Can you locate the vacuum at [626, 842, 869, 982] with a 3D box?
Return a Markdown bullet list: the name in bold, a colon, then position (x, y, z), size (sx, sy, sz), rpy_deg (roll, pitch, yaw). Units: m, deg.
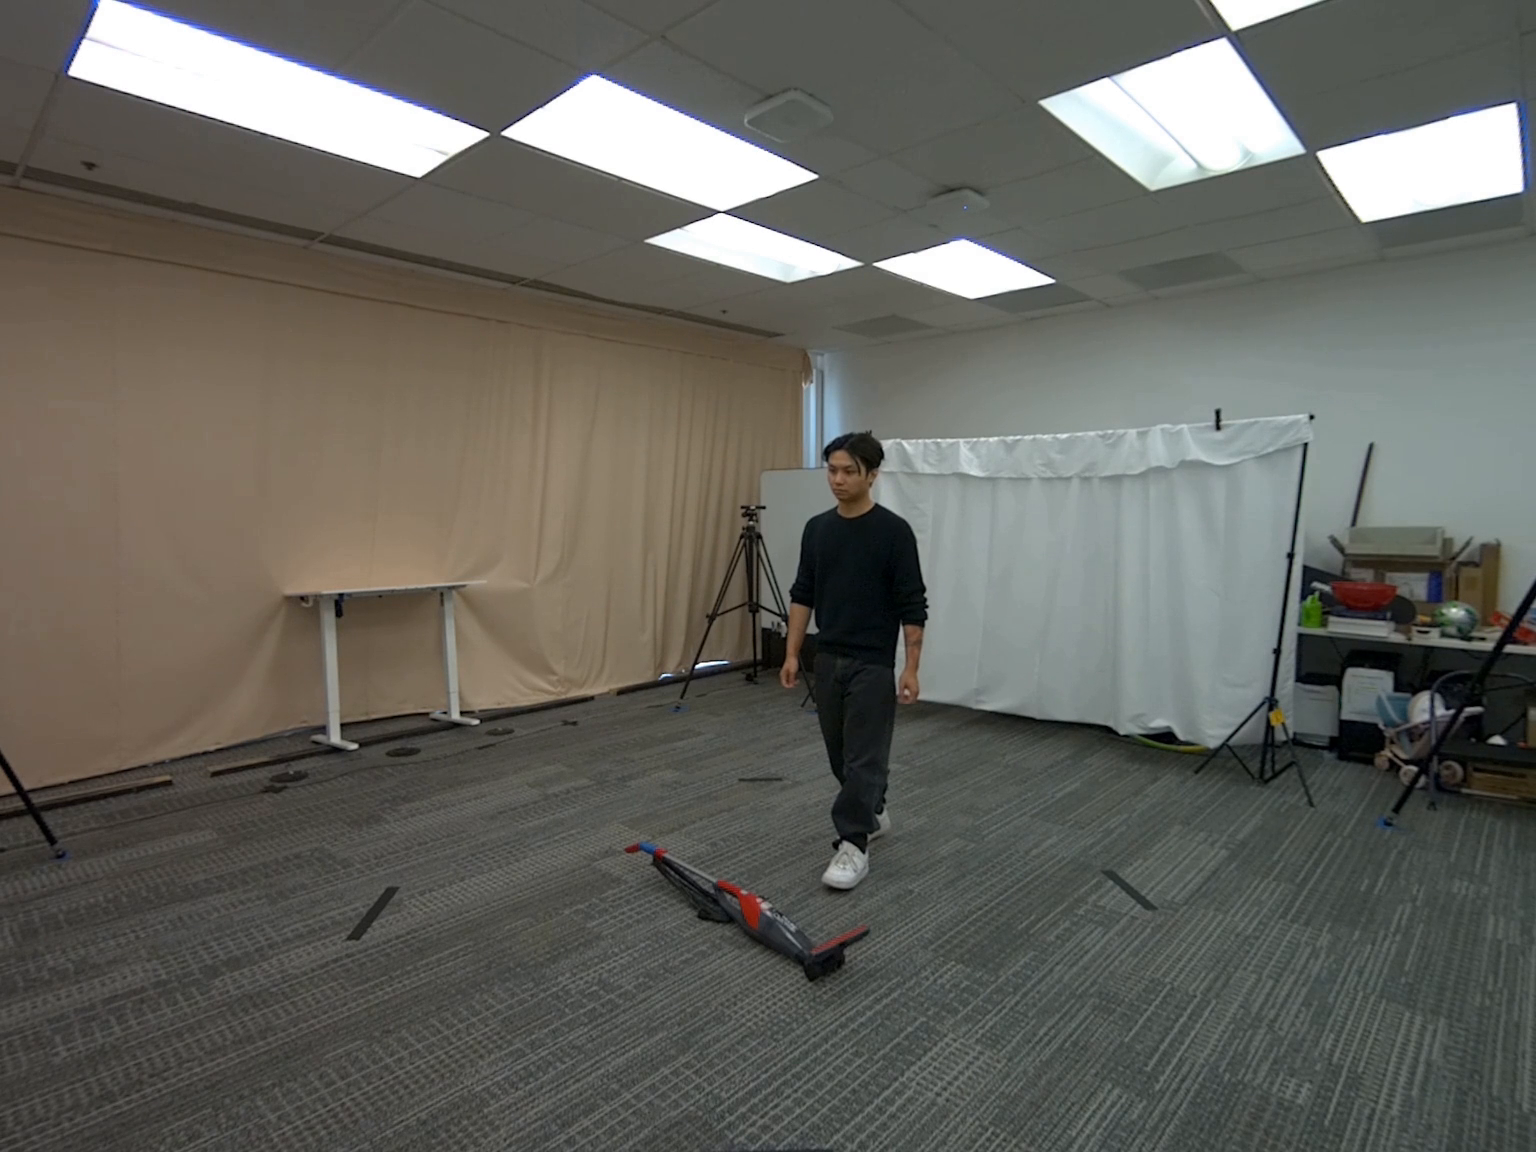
- **vacuum**: position (-0.171, 1.094, 2.868), size (0.245, 0.144, 1.084), rpy_deg (-2, 4, -43)
